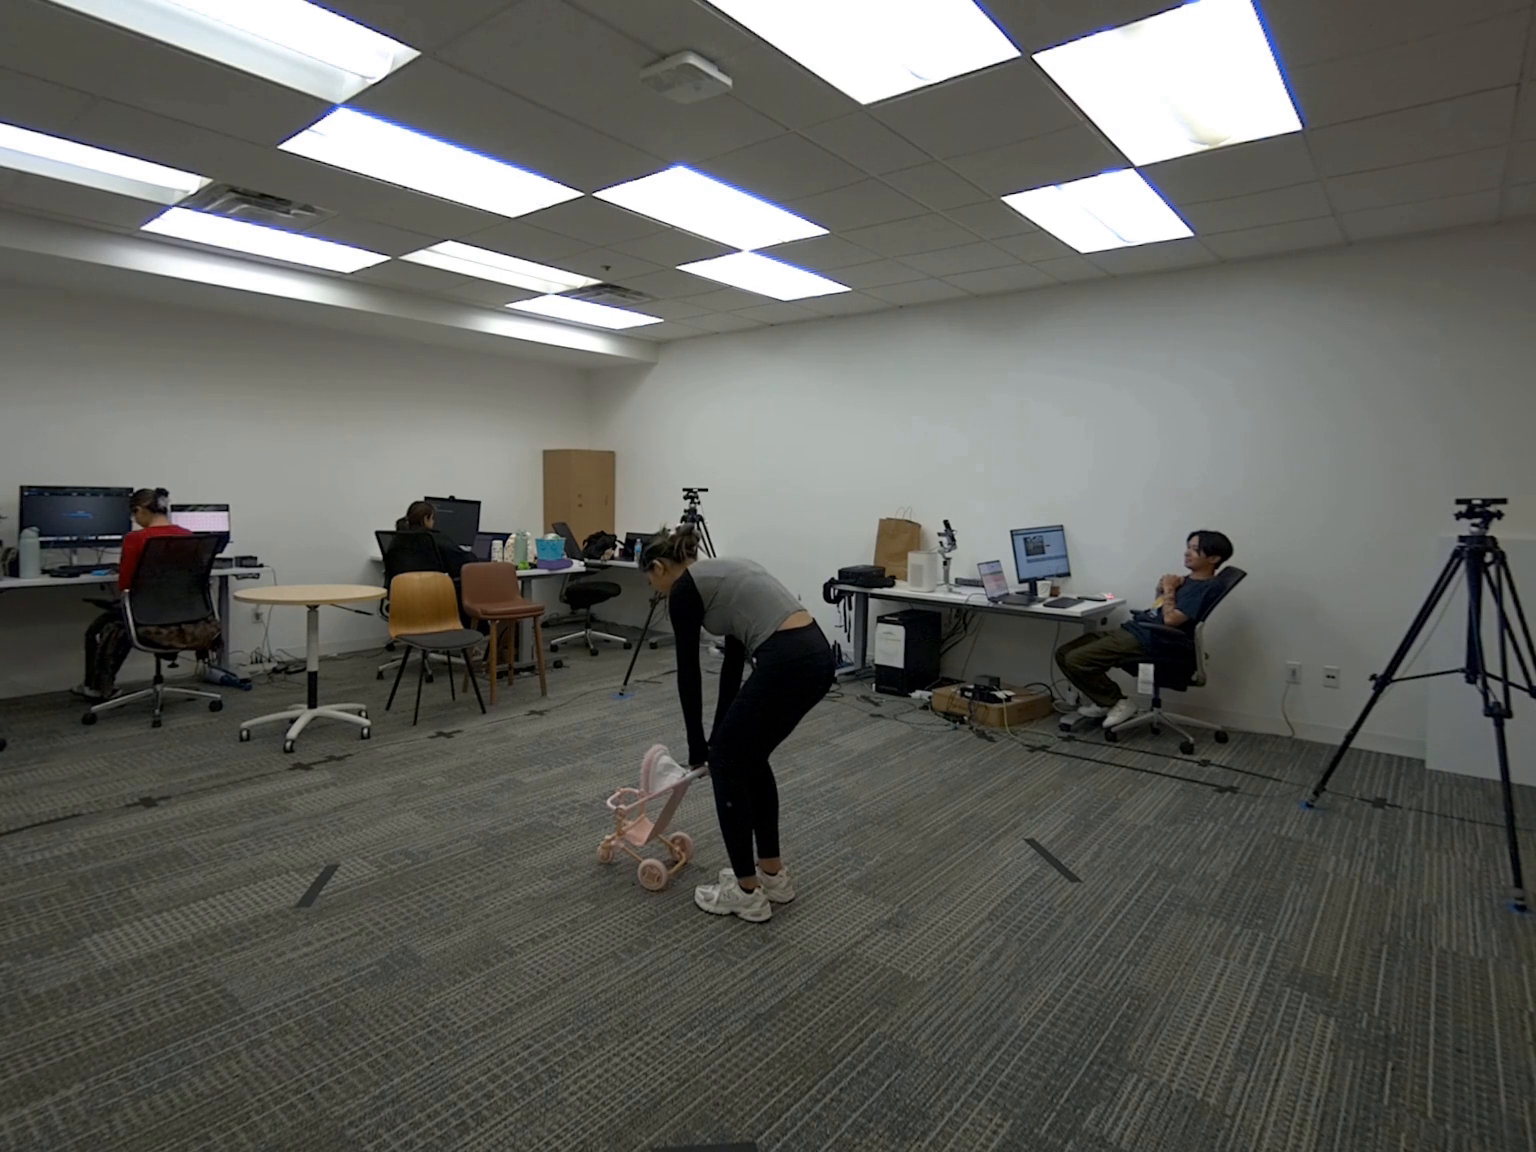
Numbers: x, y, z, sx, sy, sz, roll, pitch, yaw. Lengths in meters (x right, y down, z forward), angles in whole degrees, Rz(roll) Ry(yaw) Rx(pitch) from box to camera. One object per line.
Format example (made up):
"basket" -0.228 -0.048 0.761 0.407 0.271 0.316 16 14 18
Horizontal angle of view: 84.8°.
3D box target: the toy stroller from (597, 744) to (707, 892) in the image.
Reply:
"toy stroller" -0.428 0.844 3.071 0.351 0.532 0.275 19 9 22
